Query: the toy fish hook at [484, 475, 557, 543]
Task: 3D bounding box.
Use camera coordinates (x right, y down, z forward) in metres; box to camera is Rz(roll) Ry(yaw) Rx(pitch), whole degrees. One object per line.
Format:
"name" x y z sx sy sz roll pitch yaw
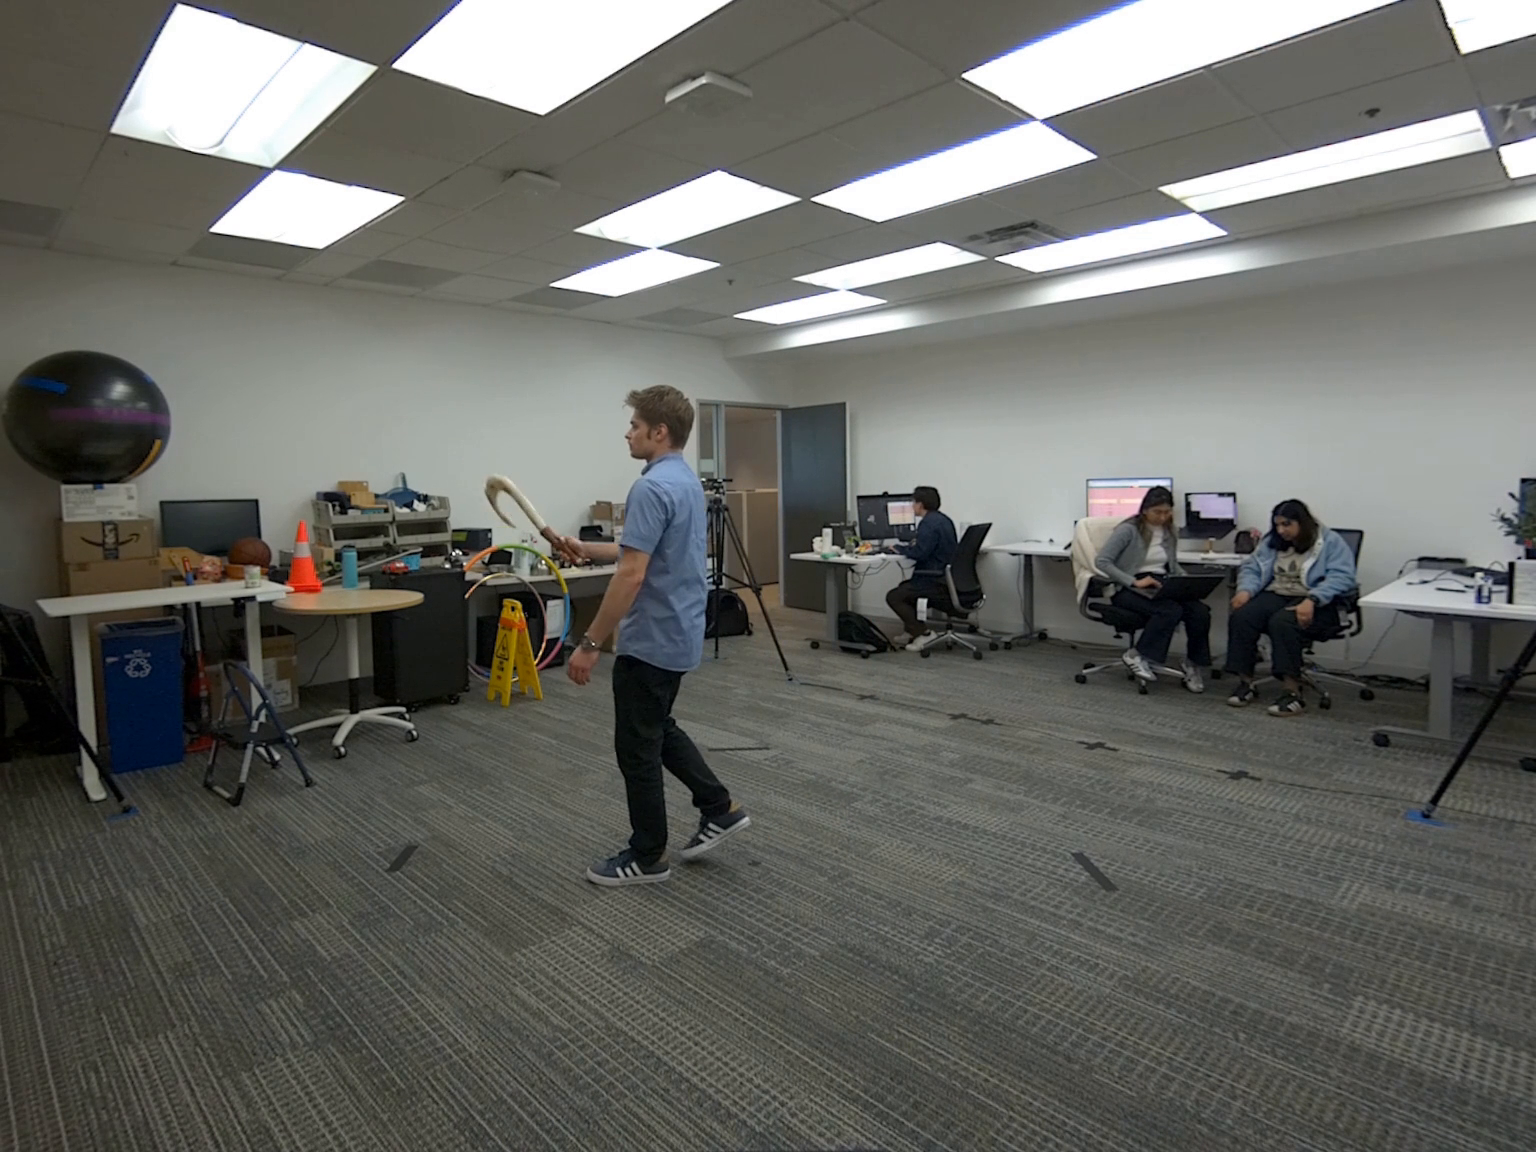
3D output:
"toy fish hook" -0.906 -0.183 3.335 0.048 0.511 0.224 -40 -8 -39
